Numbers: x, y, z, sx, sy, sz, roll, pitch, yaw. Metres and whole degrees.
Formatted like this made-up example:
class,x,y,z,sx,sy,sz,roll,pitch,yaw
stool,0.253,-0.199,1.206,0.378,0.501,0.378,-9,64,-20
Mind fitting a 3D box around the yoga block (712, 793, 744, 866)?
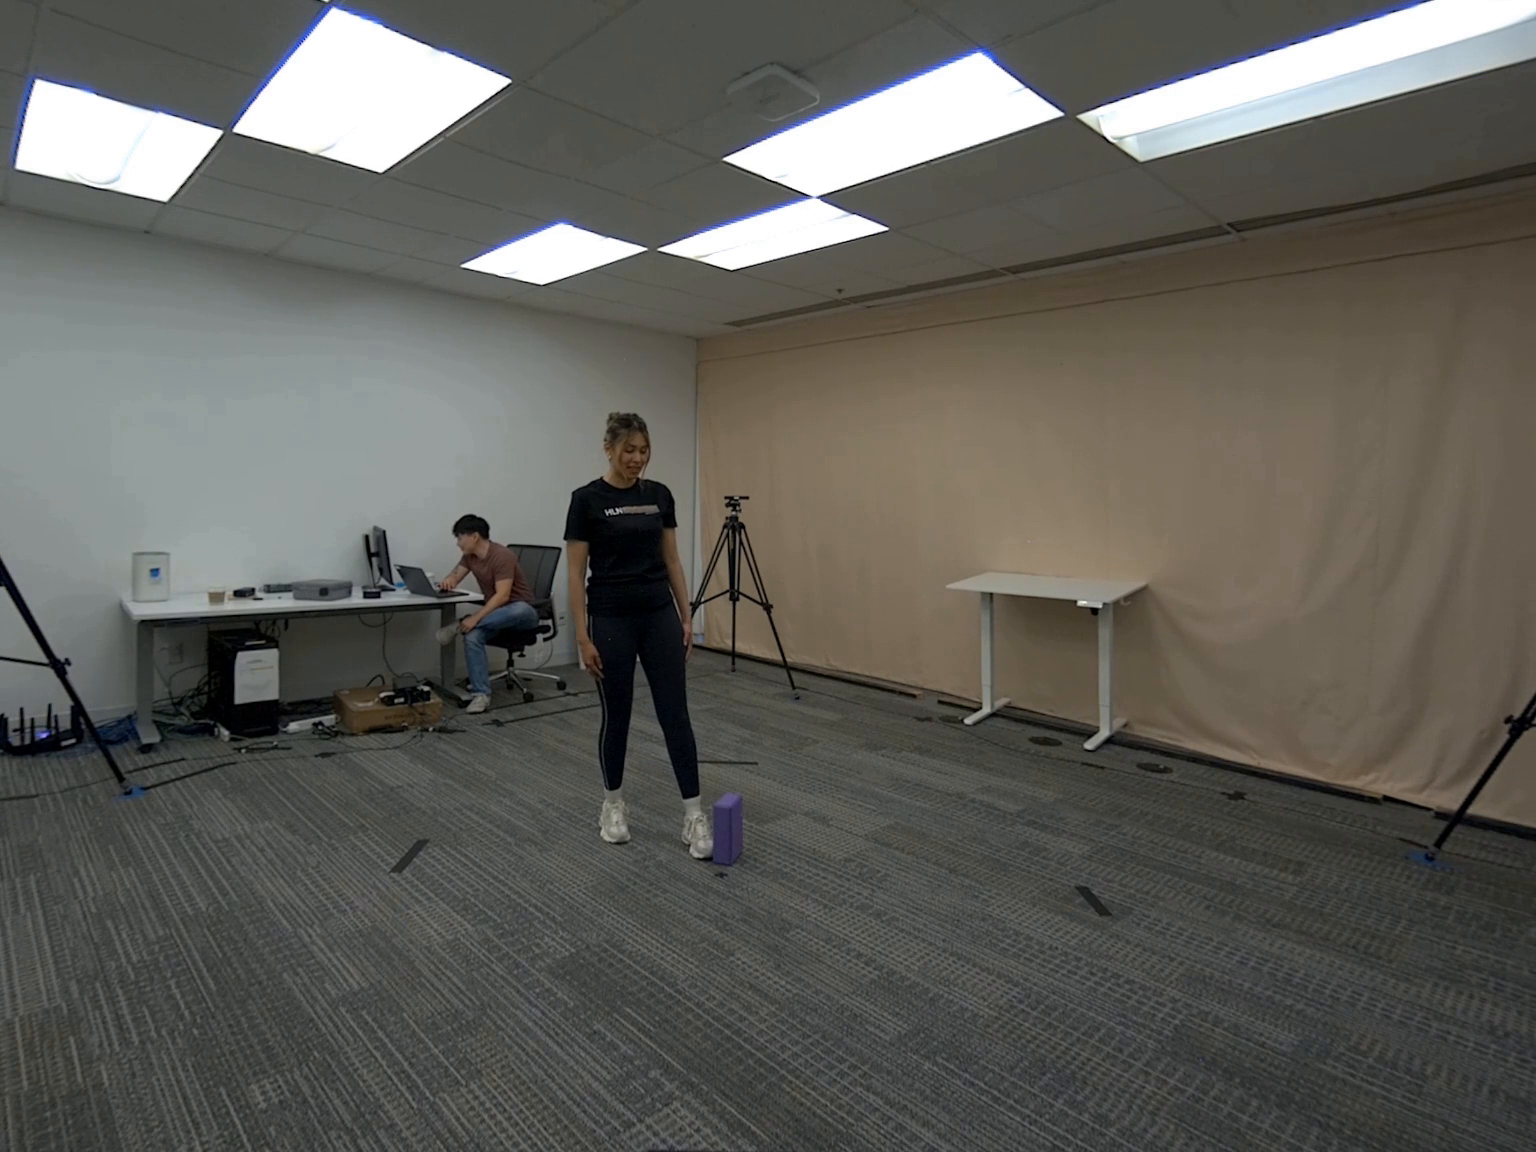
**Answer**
class,x,y,z,sx,sy,sz,roll,pitch,yaw
yoga block,-0.162,0.974,3.243,0.077,0.229,0.147,1,3,15
